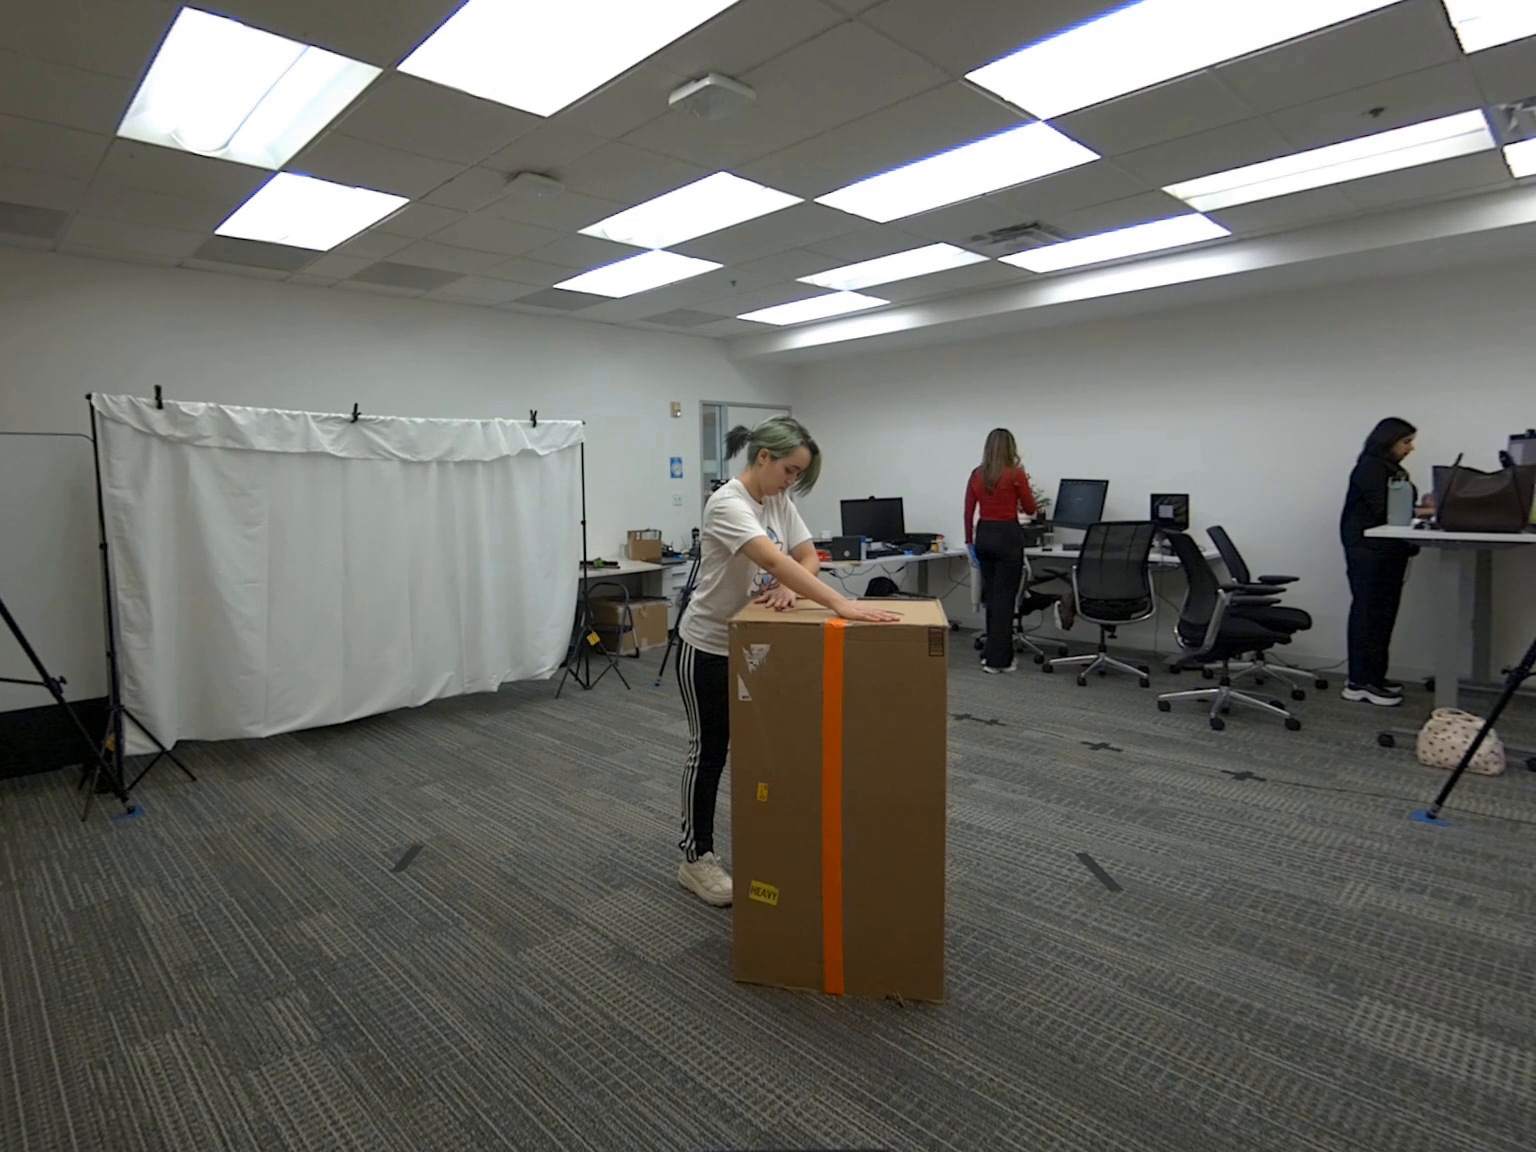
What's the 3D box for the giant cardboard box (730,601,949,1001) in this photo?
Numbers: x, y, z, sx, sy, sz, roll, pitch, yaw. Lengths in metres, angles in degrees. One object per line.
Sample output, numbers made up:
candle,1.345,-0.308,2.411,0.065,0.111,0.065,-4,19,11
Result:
giant cardboard box,0.218,0.604,2.480,0.591,1.023,0.443,0,4,11
